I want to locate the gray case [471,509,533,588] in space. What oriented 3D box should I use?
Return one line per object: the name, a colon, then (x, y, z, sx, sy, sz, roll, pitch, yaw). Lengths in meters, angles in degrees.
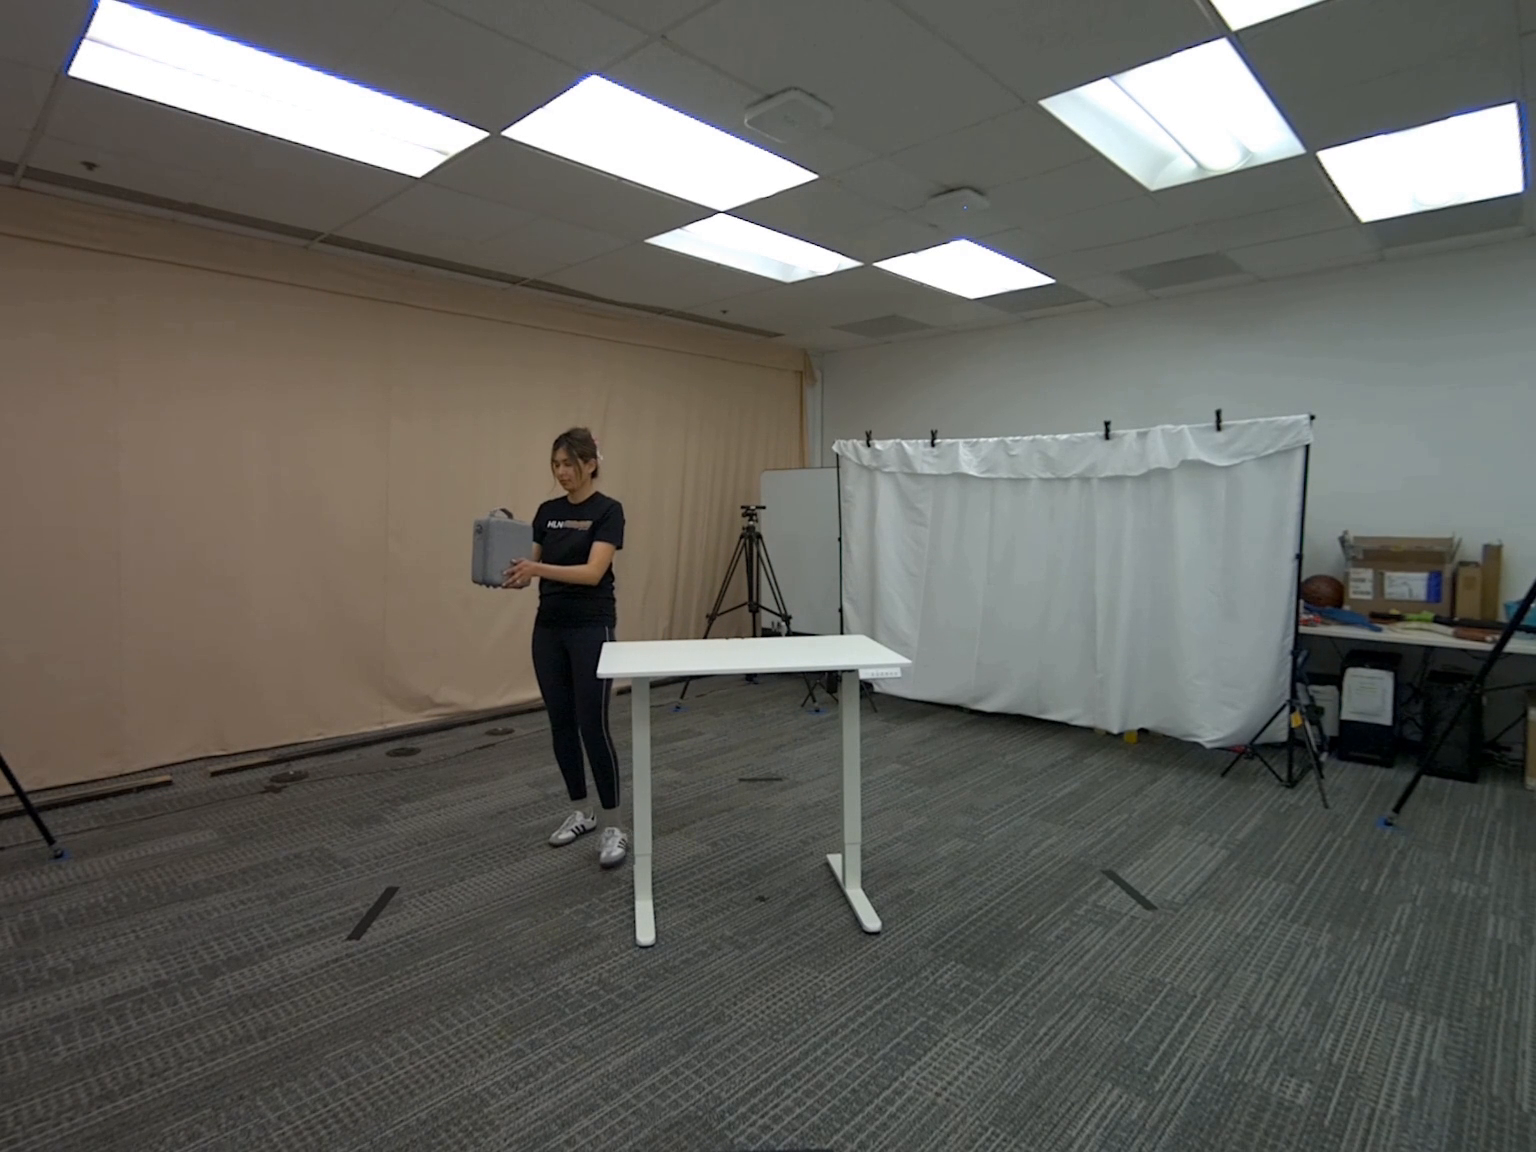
gray case: (-0.997, -0.093, 3.156, 0.107, 0.261, 0.250, 2, -4, 21)
